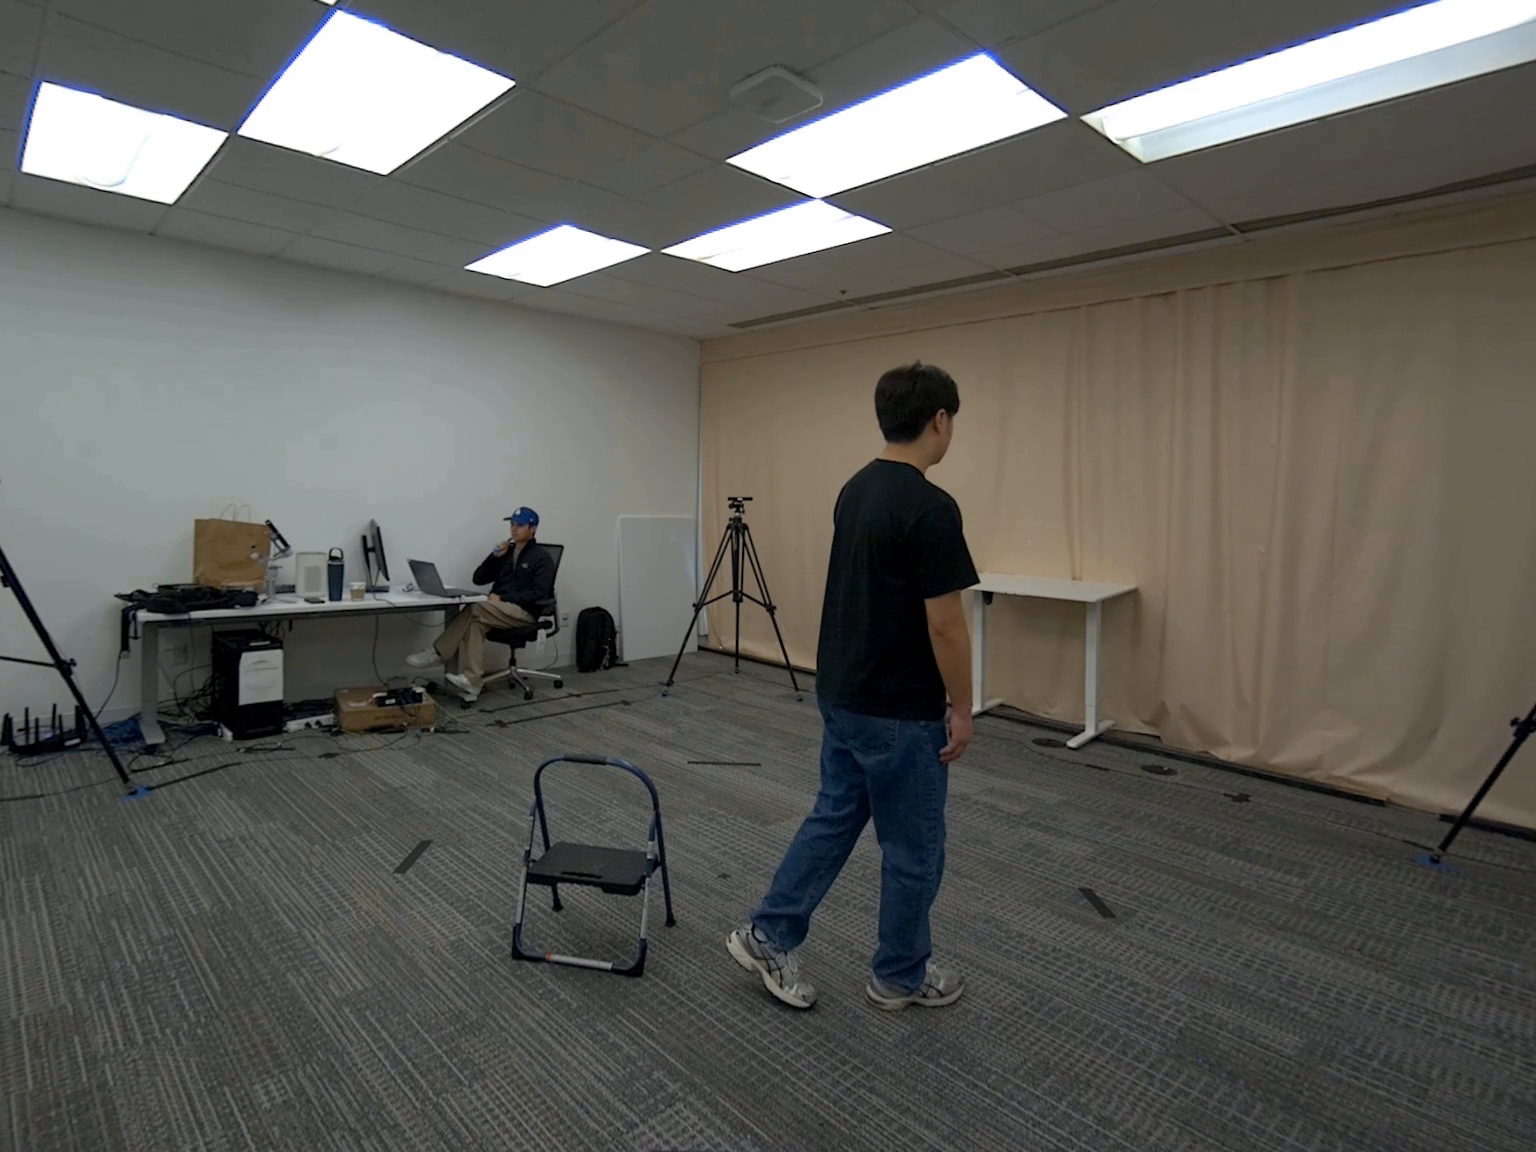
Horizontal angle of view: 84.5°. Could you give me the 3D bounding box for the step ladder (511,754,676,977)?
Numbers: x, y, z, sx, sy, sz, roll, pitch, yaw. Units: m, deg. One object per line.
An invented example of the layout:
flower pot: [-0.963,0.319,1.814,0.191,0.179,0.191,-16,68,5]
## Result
step ladder: [-0.538,0.842,2.621,0.434,0.605,0.347,1,3,11]
